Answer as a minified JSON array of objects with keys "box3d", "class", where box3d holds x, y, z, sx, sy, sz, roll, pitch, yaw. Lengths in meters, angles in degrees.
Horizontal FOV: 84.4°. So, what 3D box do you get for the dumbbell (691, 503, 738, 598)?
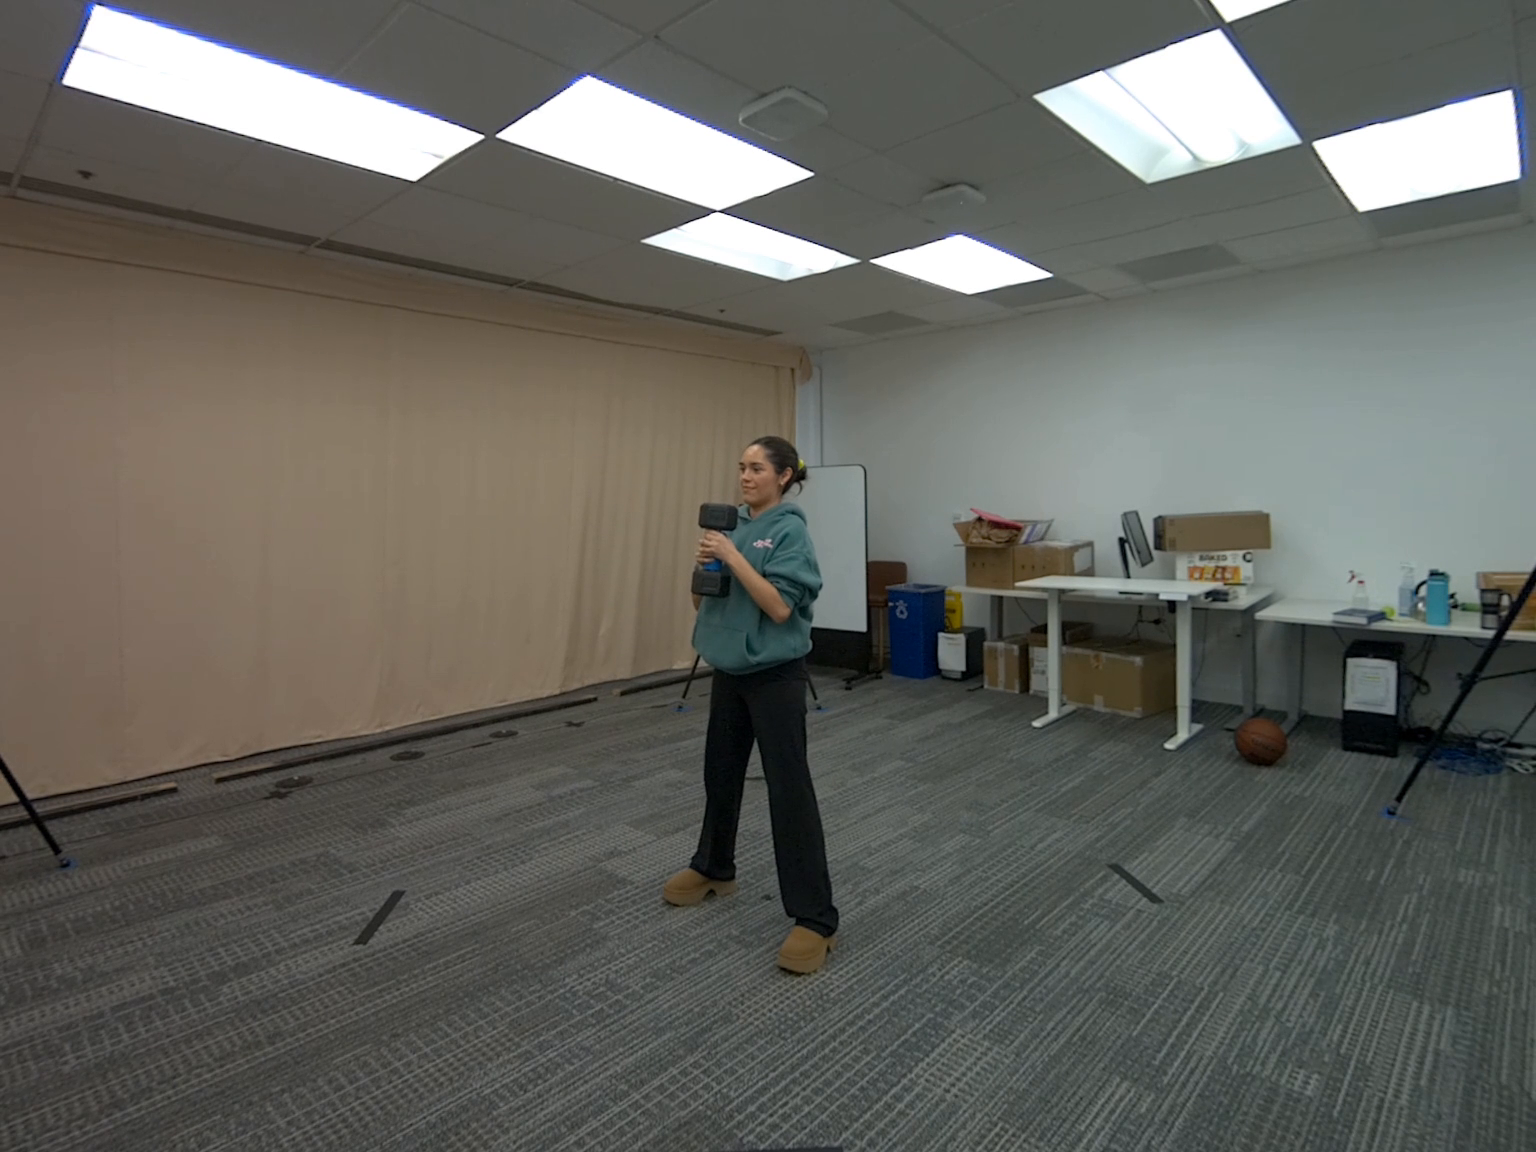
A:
[{"box3d":[-0.168,-0.078,2.678,0.123,0.294,0.108,5,-3,1],"class":"dumbbell"}]
